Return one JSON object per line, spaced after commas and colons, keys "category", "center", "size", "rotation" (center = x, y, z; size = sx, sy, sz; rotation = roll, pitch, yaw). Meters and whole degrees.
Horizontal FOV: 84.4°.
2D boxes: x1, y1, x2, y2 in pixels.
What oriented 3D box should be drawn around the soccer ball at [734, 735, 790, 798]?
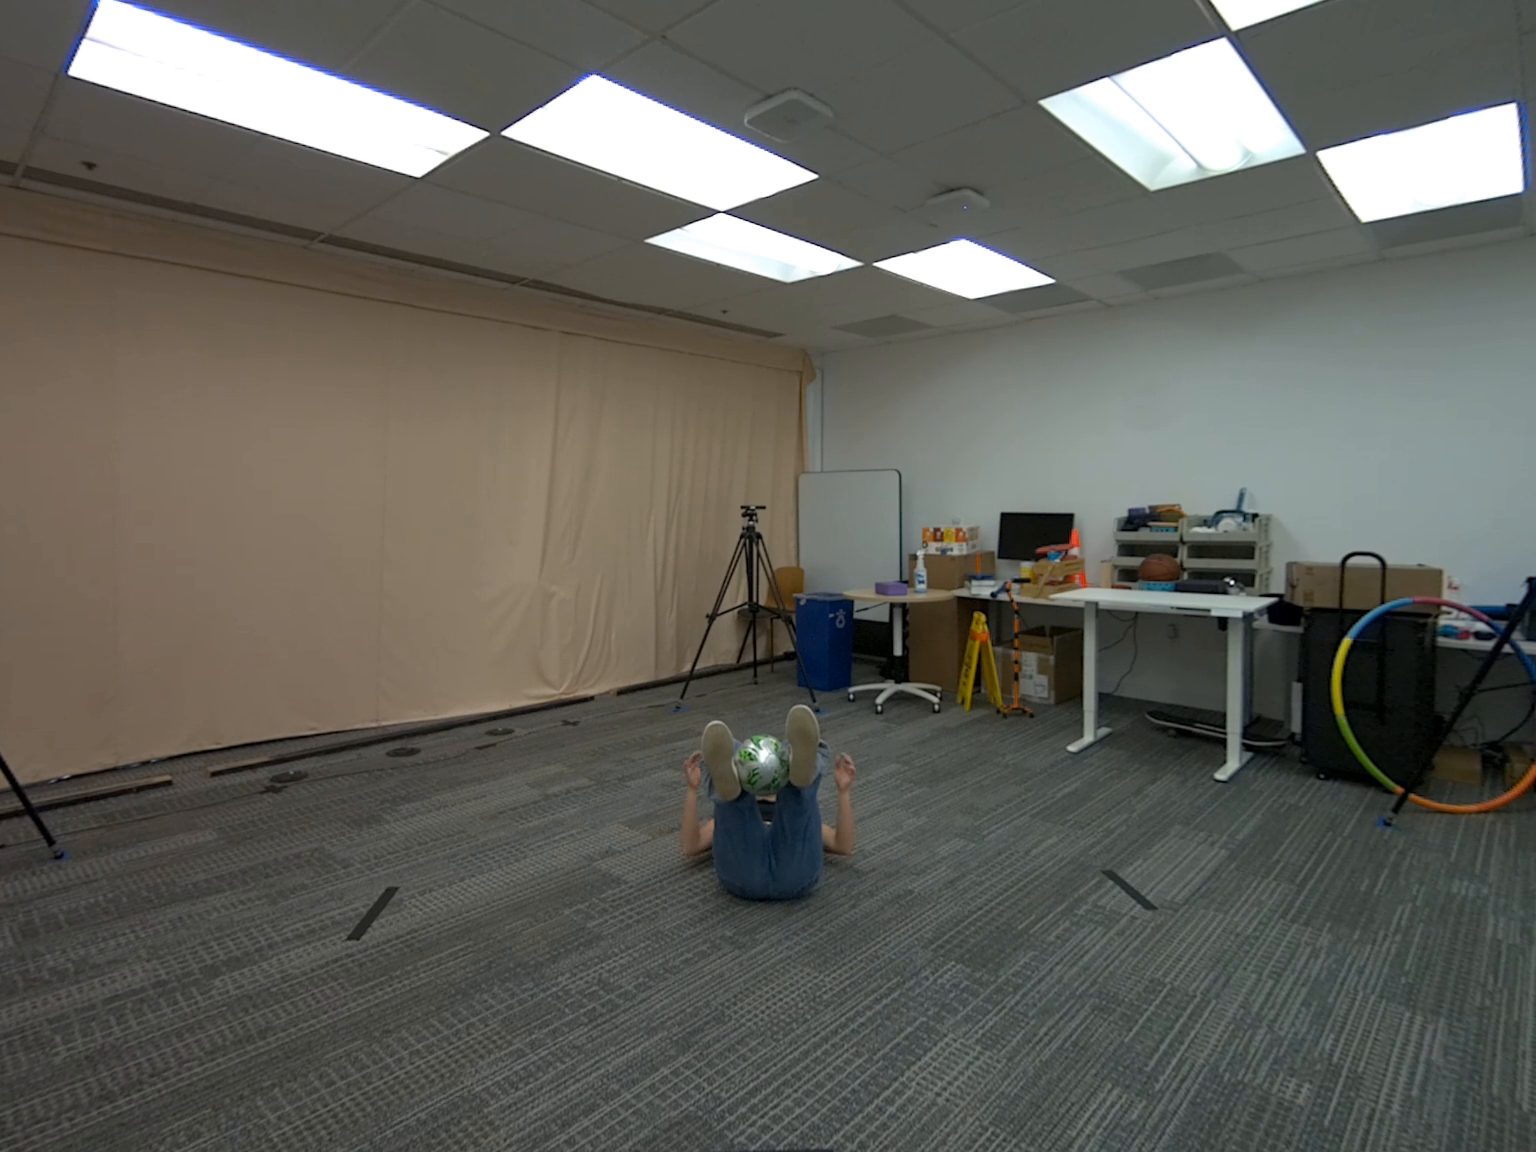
{"category": "soccer ball", "center": [-0.002, 0.607, 2.637], "size": [0.187, 0.187, 0.188], "rotation": [3, 4, -2]}
